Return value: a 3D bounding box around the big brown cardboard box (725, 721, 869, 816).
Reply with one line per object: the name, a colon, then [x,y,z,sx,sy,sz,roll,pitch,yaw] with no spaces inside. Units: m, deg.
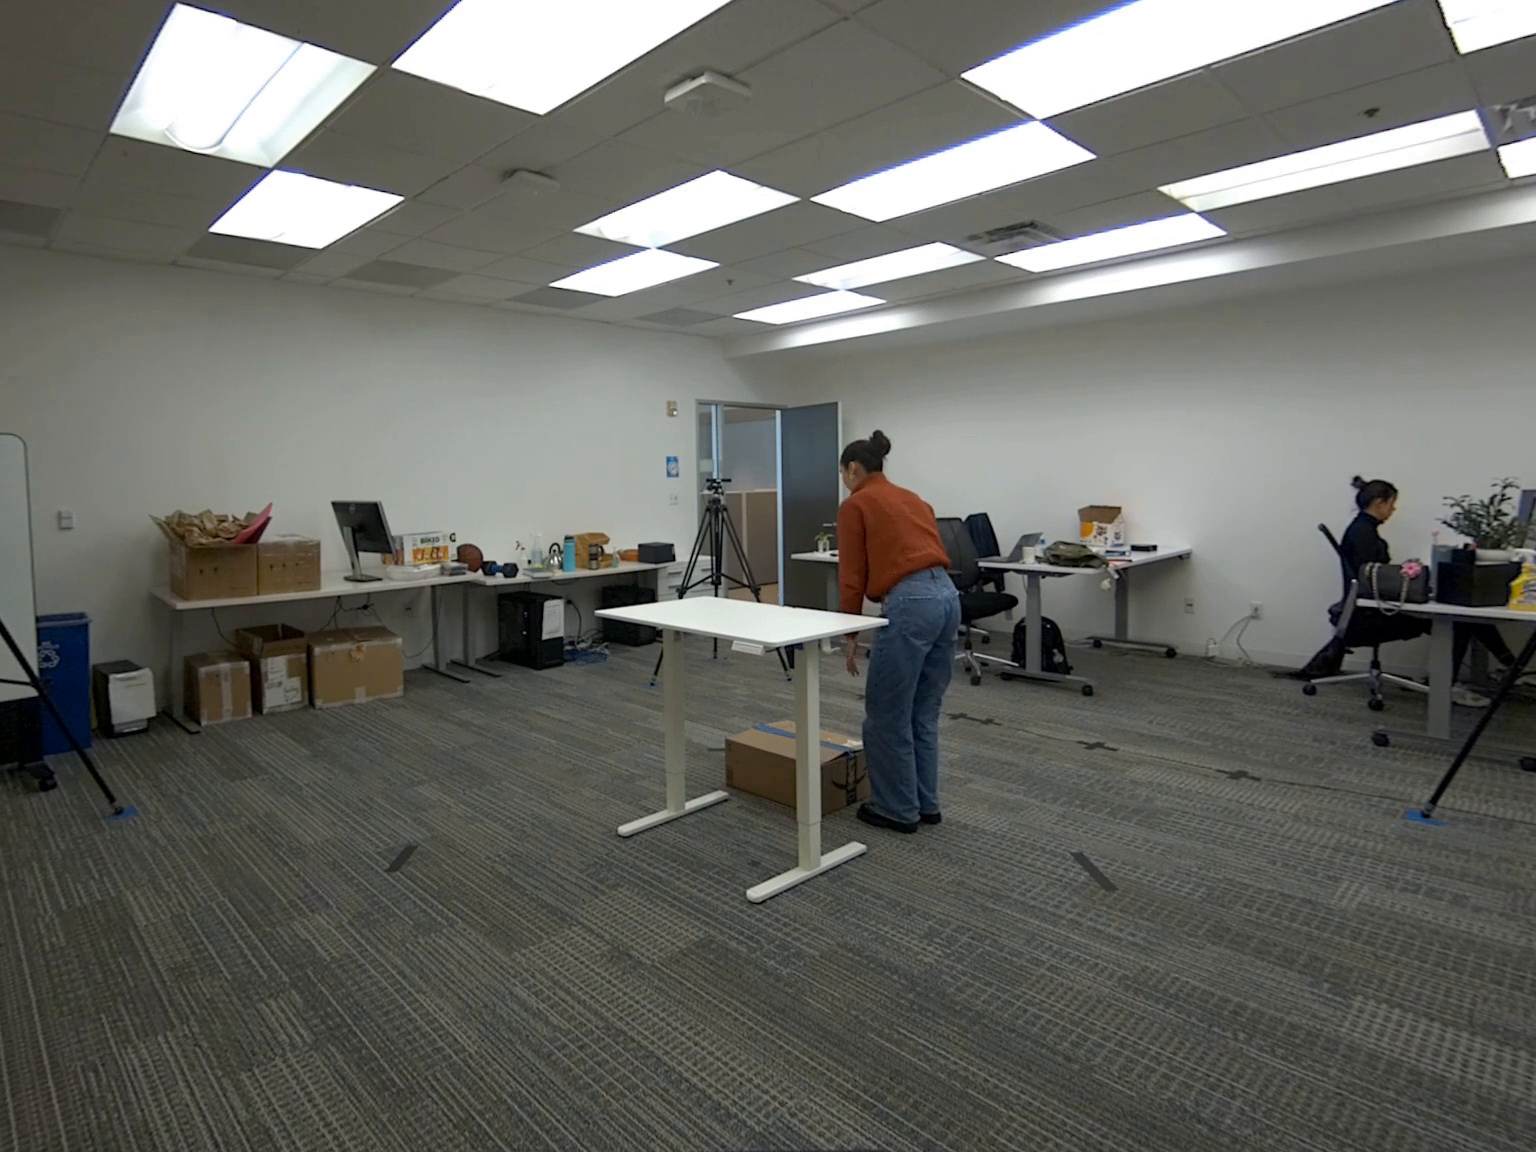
big brown cardboard box: [0.154,0.848,3.844,0.406,0.232,0.607,-6,7,-45]
